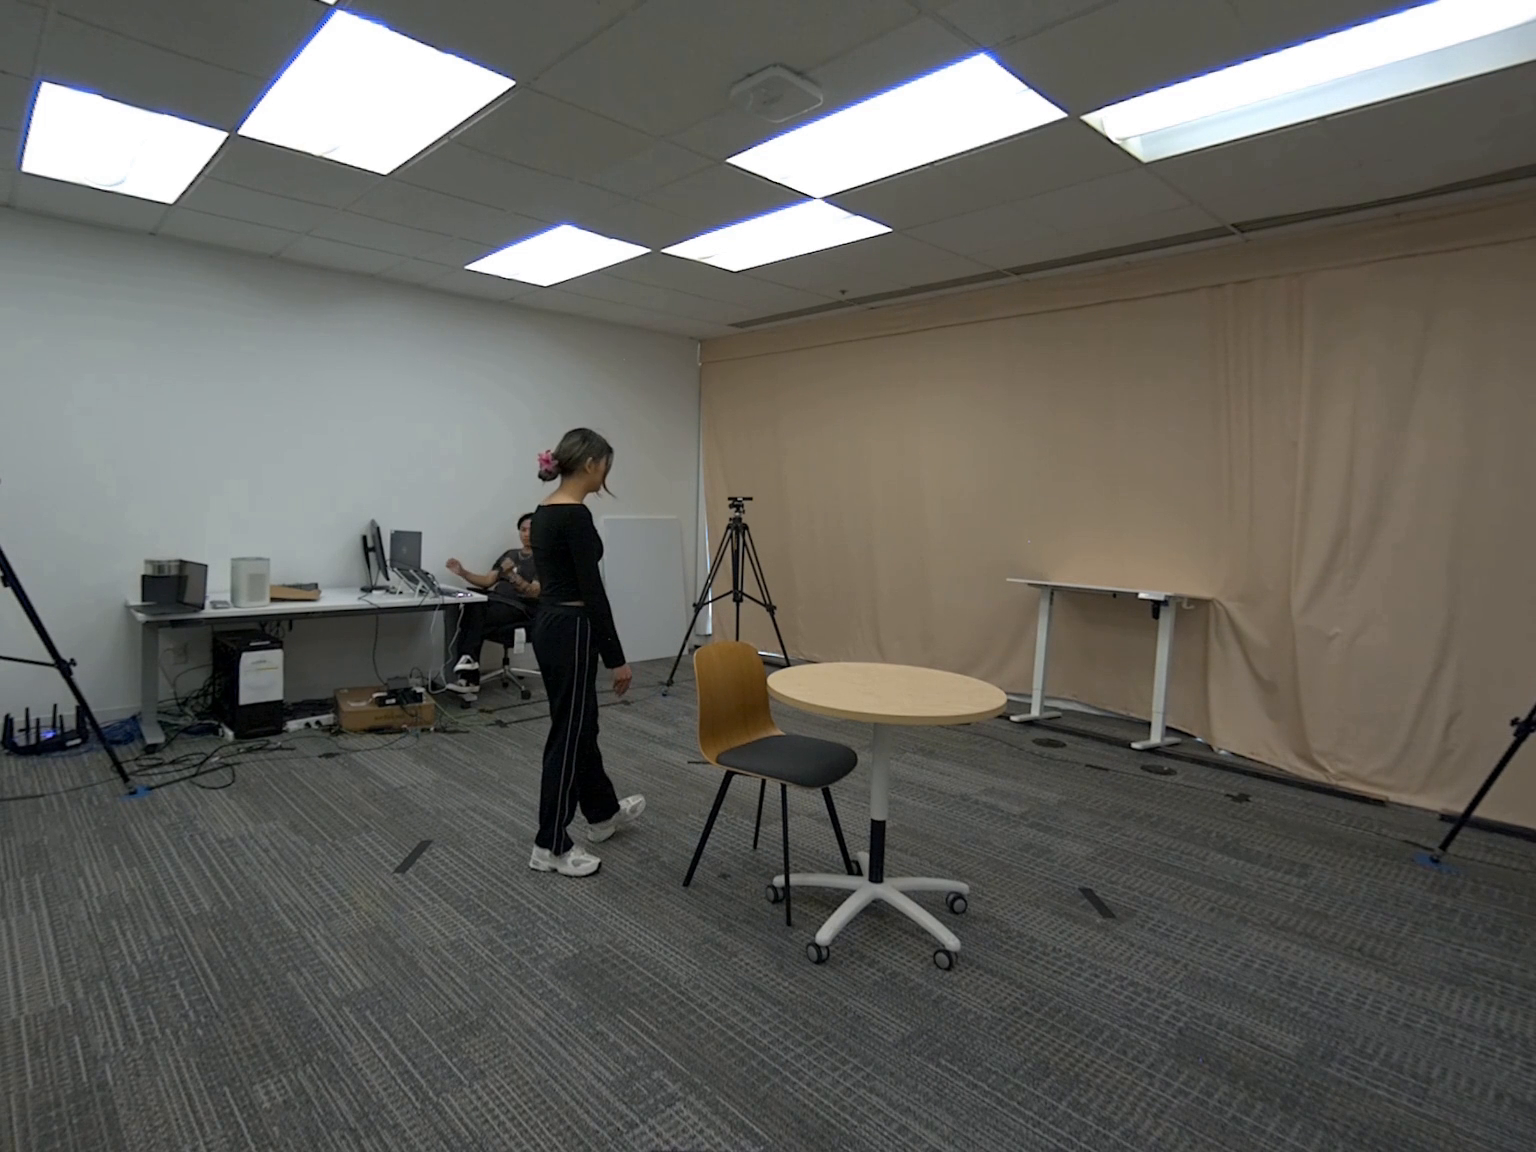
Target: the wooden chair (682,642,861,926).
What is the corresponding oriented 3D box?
[{"bbox_3d":[0.018,0.687,3.025,0.535,0.877,0.467,-2,0,36],"label":"wooden chair"}]
